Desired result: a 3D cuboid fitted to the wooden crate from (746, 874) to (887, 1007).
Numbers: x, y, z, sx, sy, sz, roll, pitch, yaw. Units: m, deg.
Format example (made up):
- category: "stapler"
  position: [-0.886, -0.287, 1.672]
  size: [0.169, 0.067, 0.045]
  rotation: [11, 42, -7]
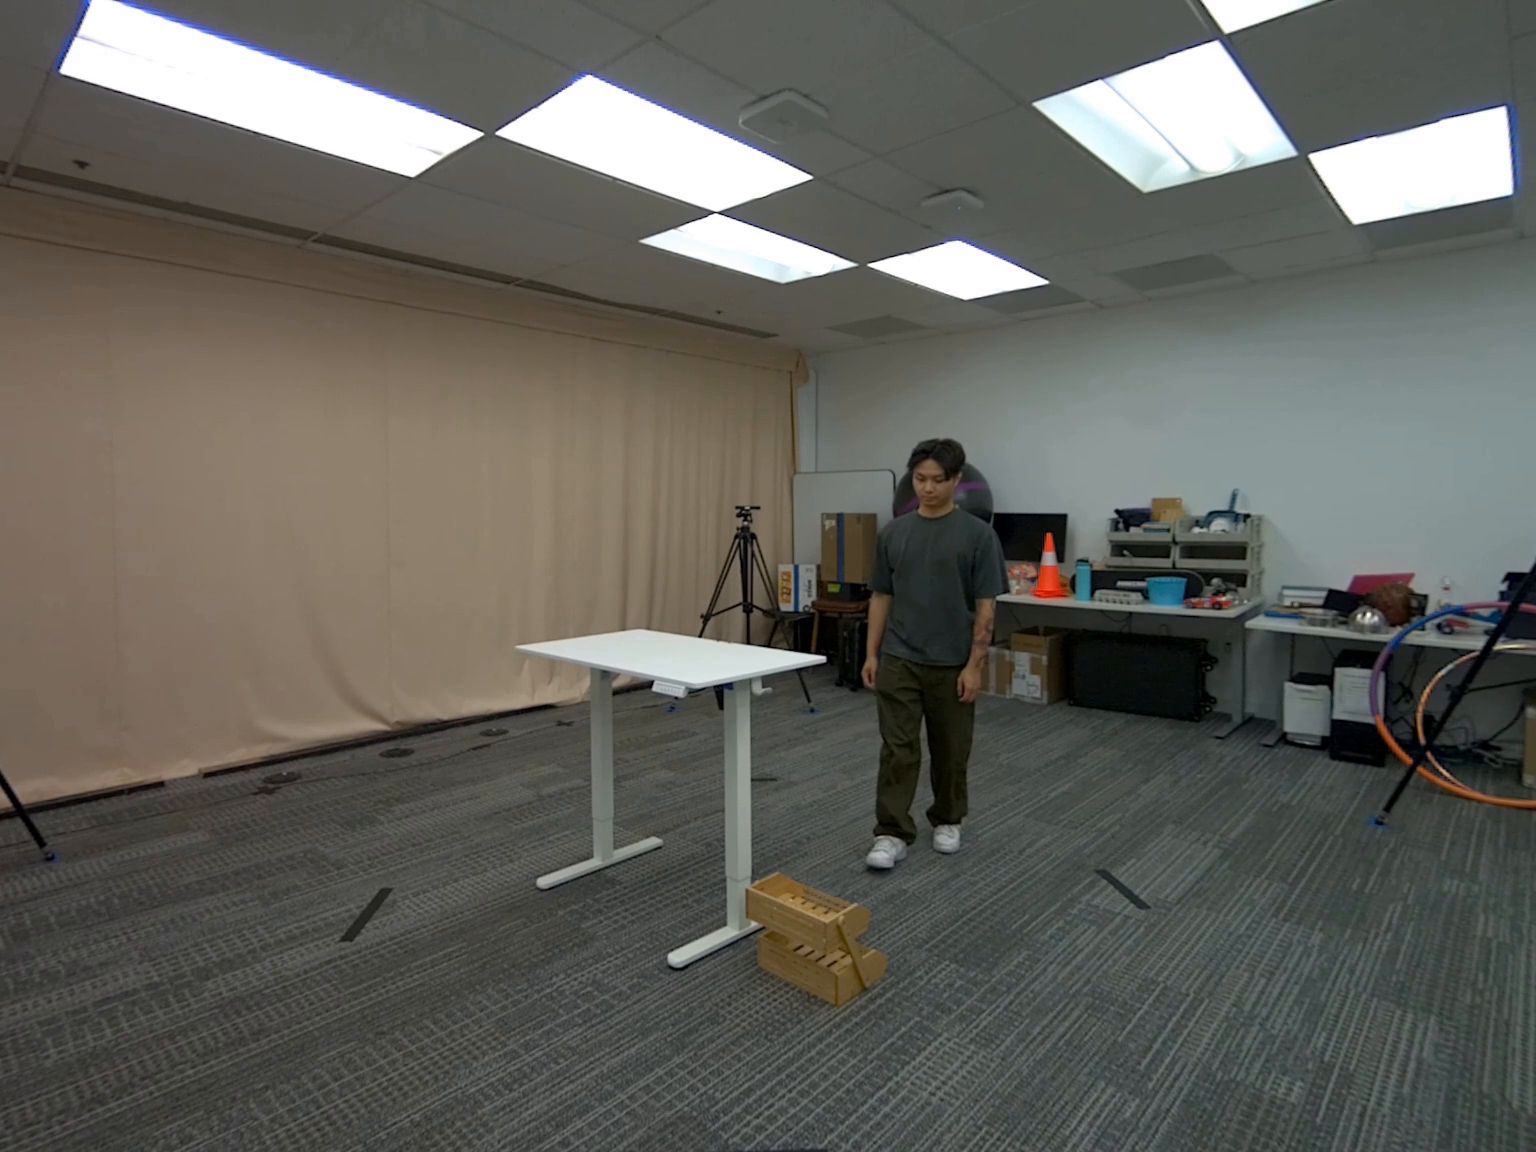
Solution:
- category: "wooden crate"
  position: [0.150, 1.052, 2.503]
  size: [0.335, 0.273, 0.293]
  rotation: [3, 5, 42]
